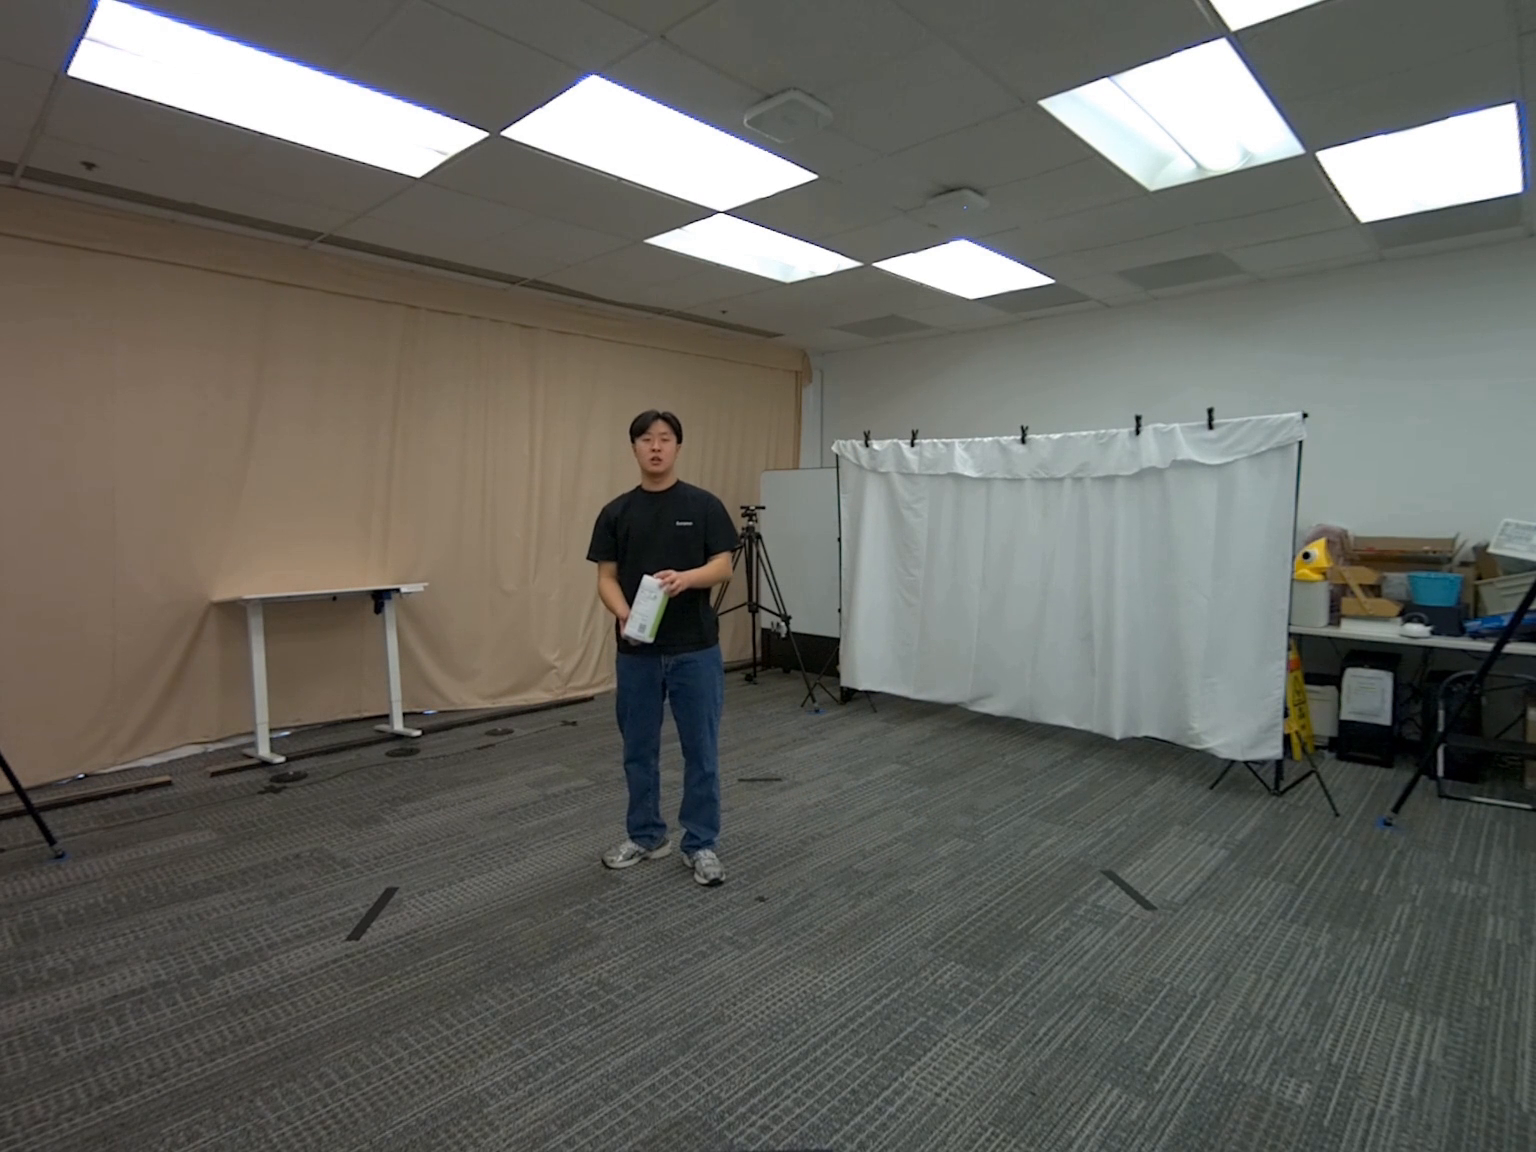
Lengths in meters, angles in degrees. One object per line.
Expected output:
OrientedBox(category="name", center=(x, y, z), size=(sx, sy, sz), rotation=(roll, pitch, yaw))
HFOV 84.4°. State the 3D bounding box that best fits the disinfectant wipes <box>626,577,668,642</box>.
OrientedBox(category="disinfectant wipes", center=(-0.398, 0.110, 2.894), size=(0.117, 0.217, 0.118), rotation=(16, 0, -2))
